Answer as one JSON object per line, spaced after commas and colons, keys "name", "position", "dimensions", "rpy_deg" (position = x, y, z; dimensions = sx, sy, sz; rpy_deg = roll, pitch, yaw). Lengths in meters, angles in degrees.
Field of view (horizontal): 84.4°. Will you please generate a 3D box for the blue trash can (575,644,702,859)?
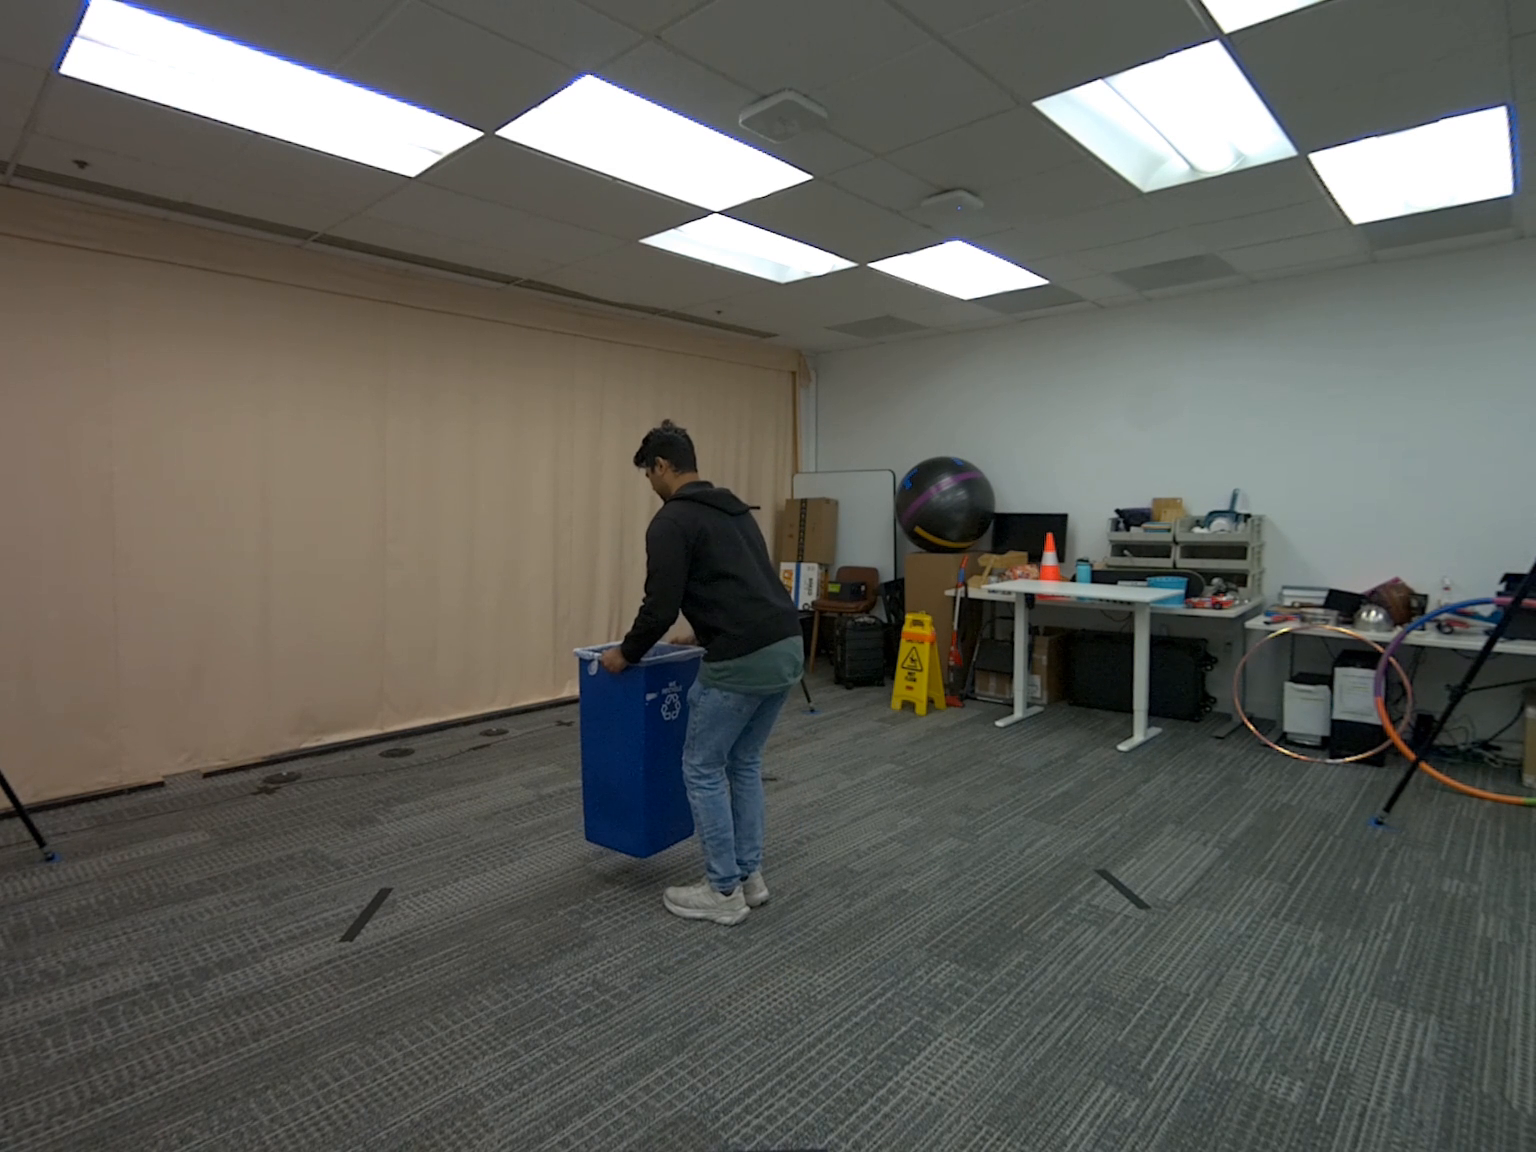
{"name": "blue trash can", "position": [-0.477, 0.627, 3.162], "dimensions": [0.390, 0.712, 0.363], "rpy_deg": [2, 3, 35]}
